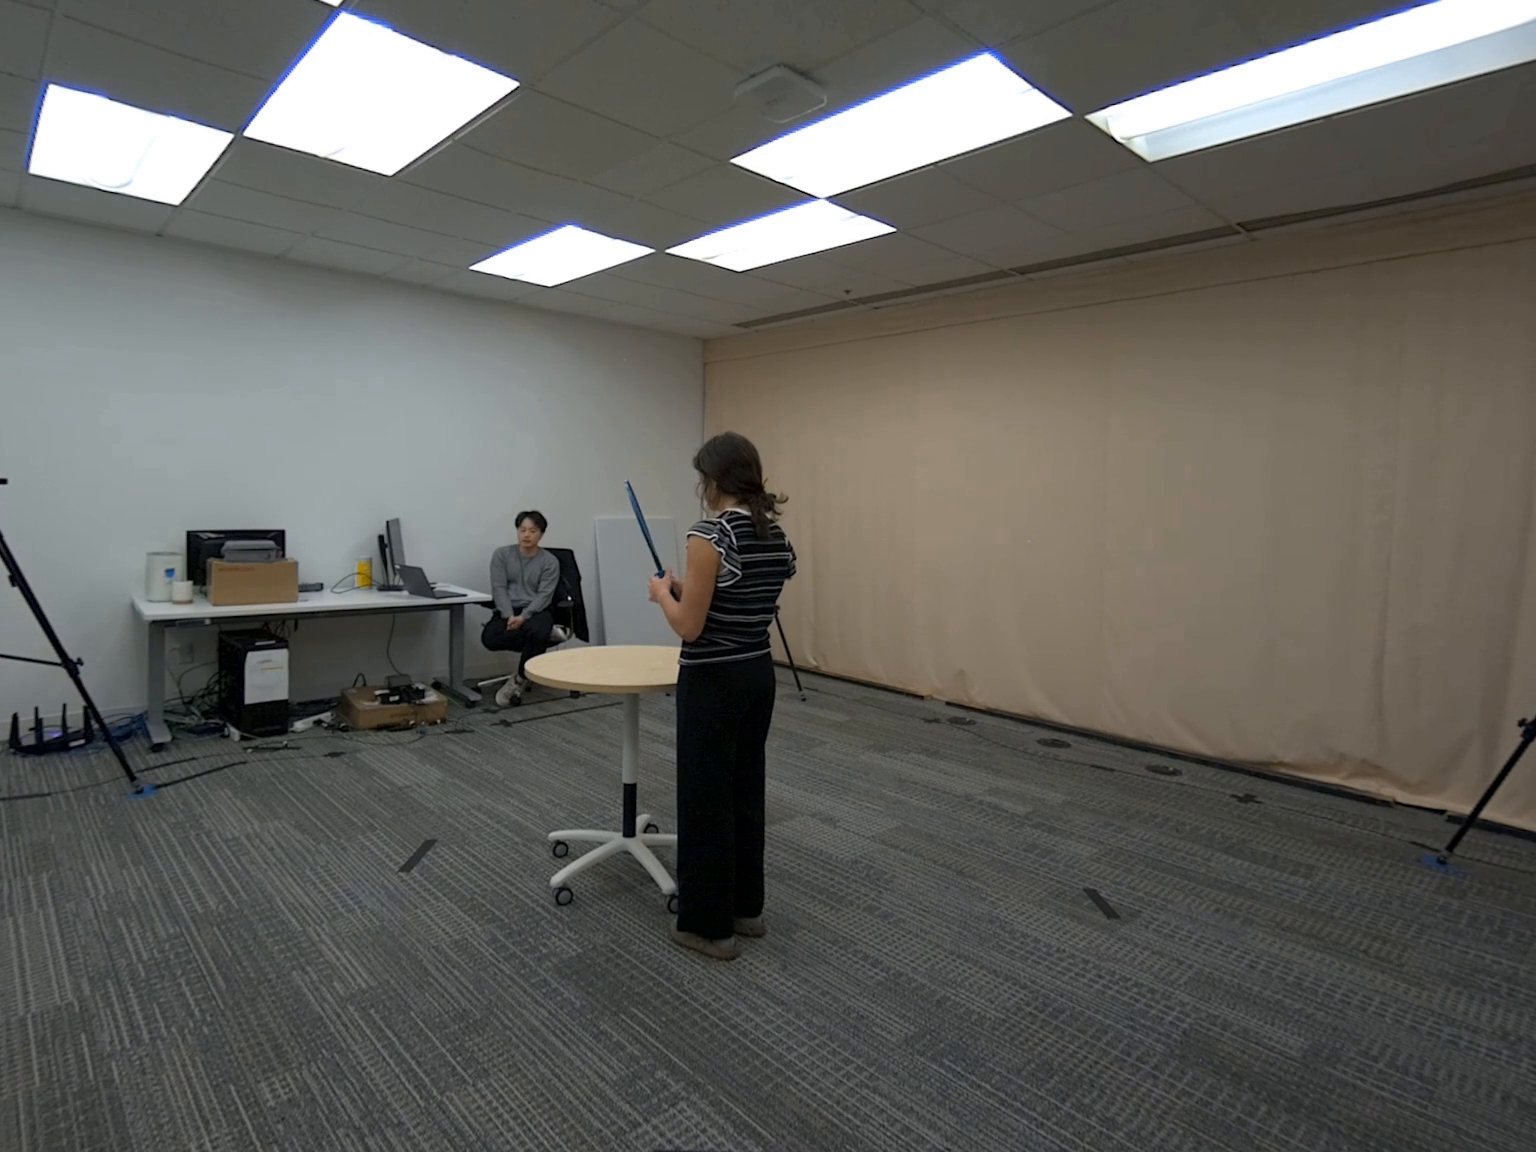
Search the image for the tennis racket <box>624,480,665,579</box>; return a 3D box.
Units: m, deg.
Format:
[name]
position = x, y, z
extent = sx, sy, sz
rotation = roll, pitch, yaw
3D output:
[tennis racket]
position = -0.372, -0.107, 2.694
extent = 0.032, 0.433, 0.214
rotation = -21, 0, -4
